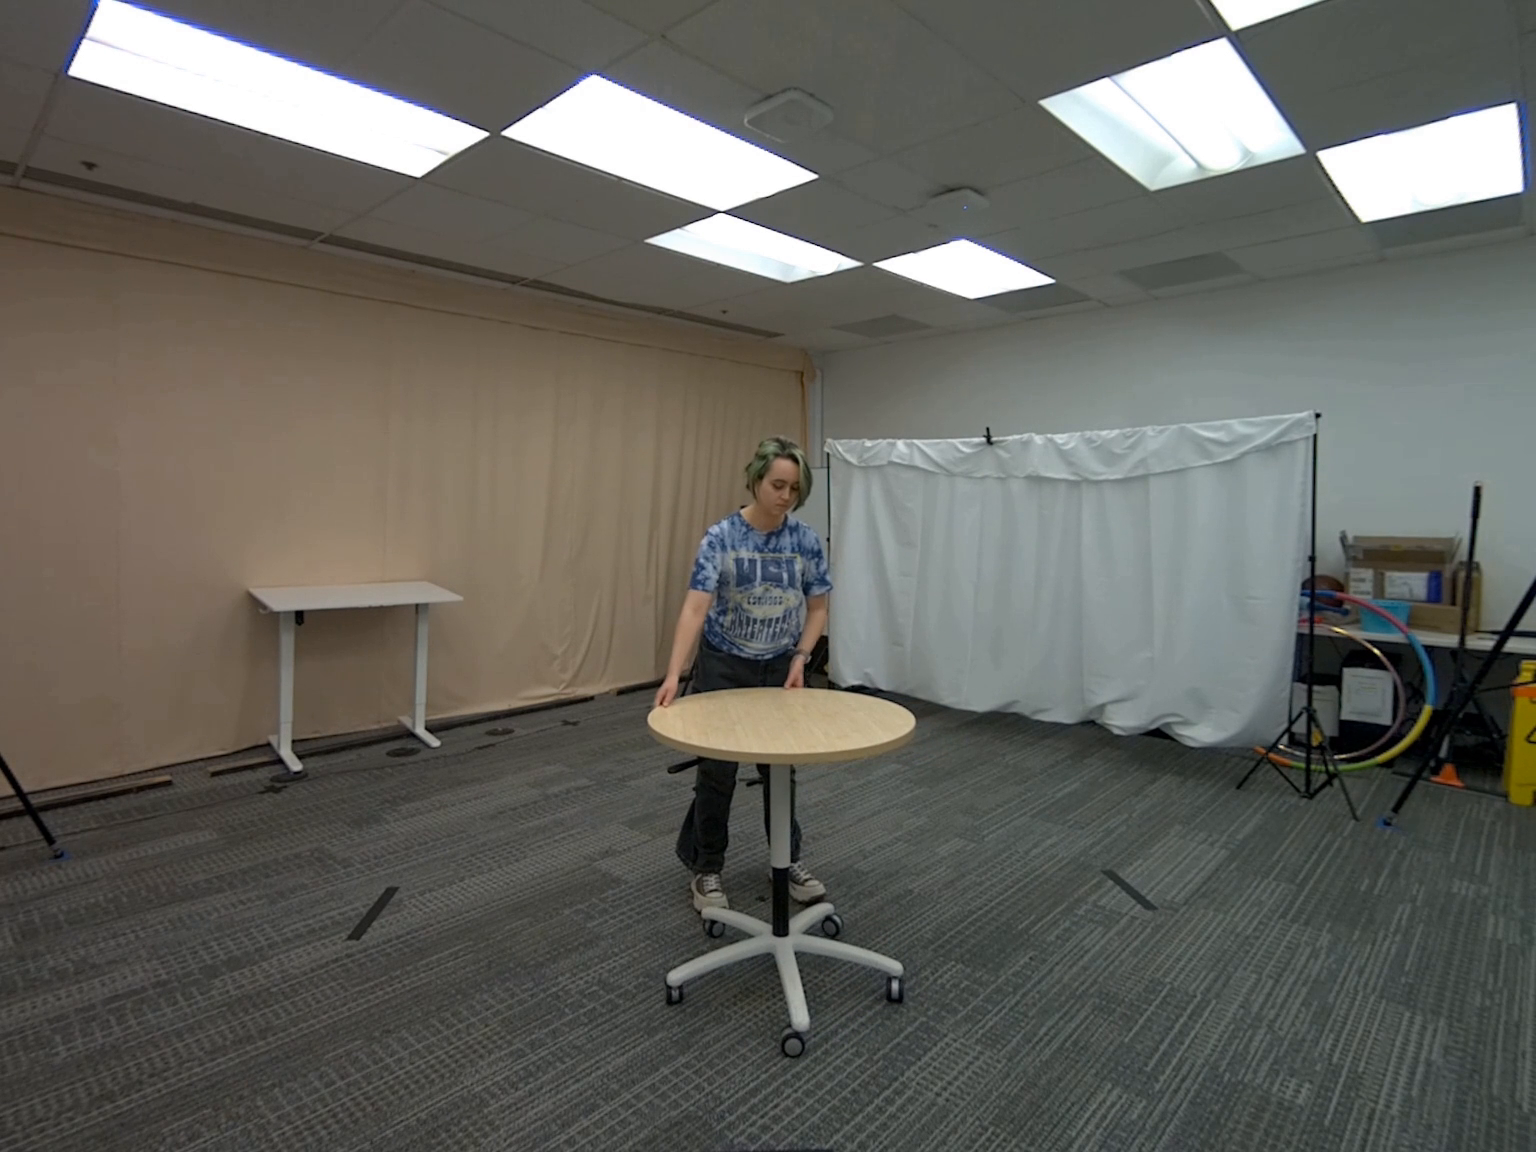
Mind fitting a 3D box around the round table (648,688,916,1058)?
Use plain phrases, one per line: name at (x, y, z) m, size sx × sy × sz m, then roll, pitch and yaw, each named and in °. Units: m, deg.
round table at (0.036, 0.799, 2.448) m, size 0.763 × 0.792 × 0.766 m, roll 0°, pitch 4°, yaw -2°
